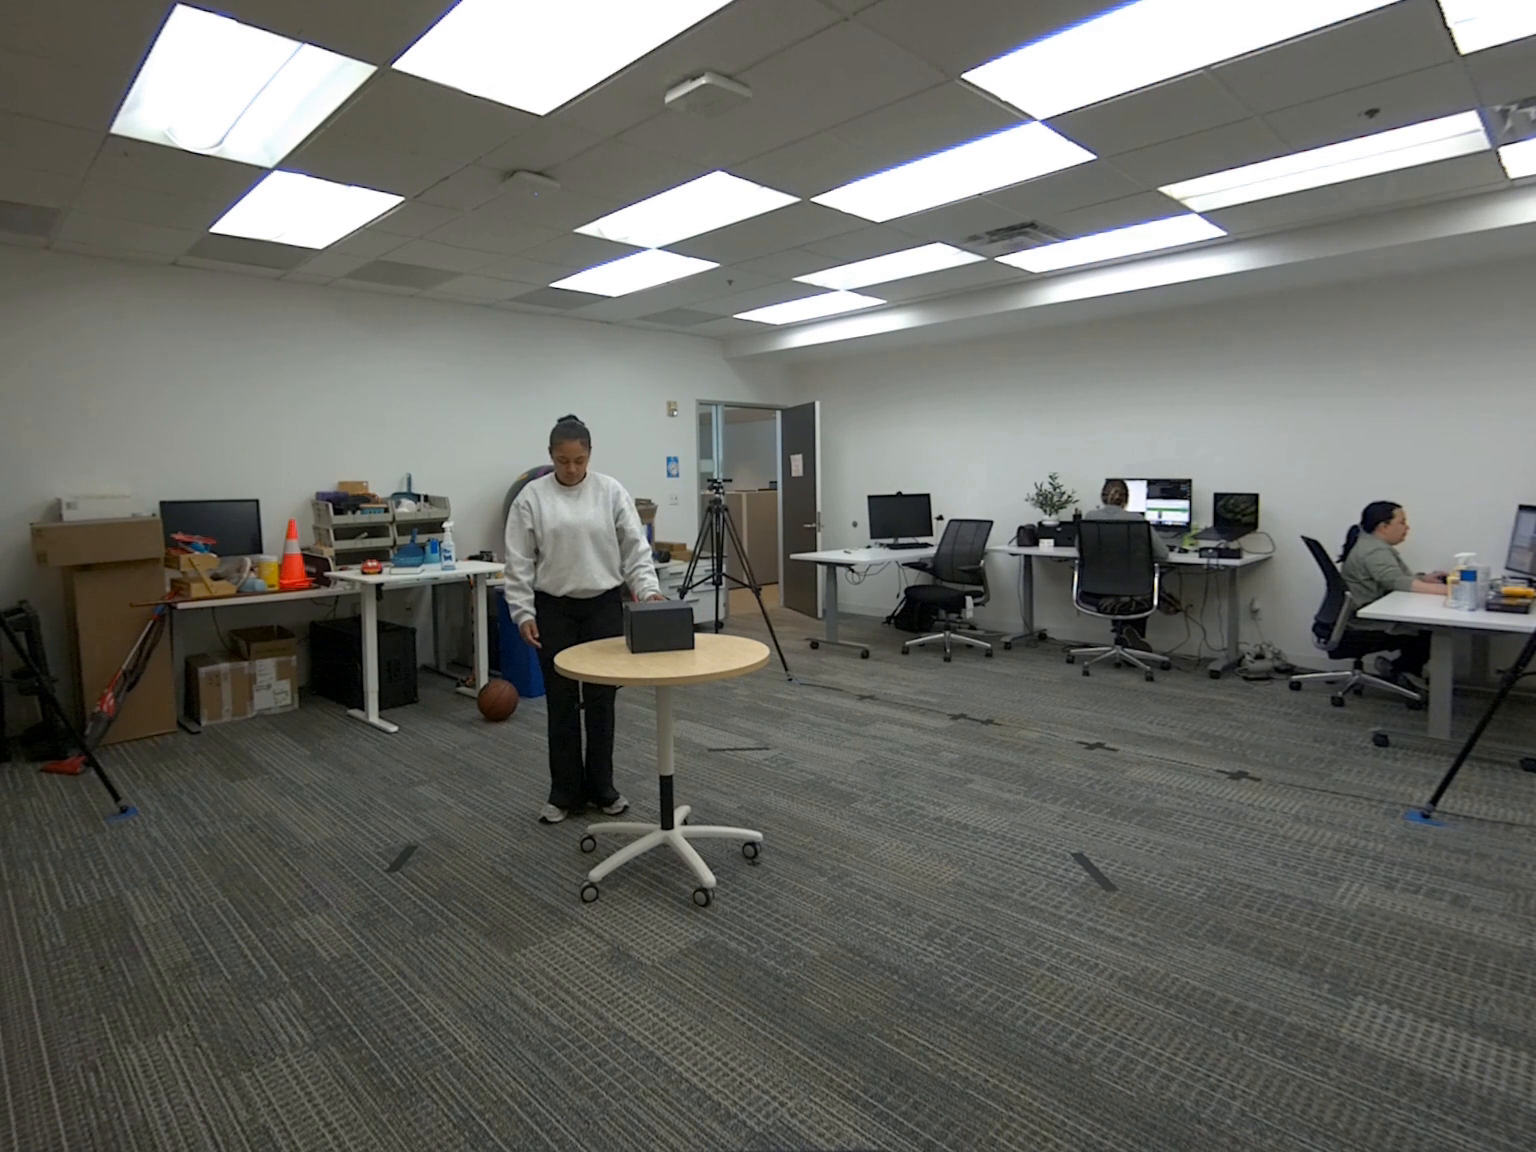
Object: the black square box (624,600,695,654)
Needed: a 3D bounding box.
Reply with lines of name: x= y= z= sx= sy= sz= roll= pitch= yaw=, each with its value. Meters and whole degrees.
black square box: x=-0.405 y=0.179 z=3.162 sx=0.225 sy=0.155 sz=0.221 roll=-3 pitch=6 yaw=-13
